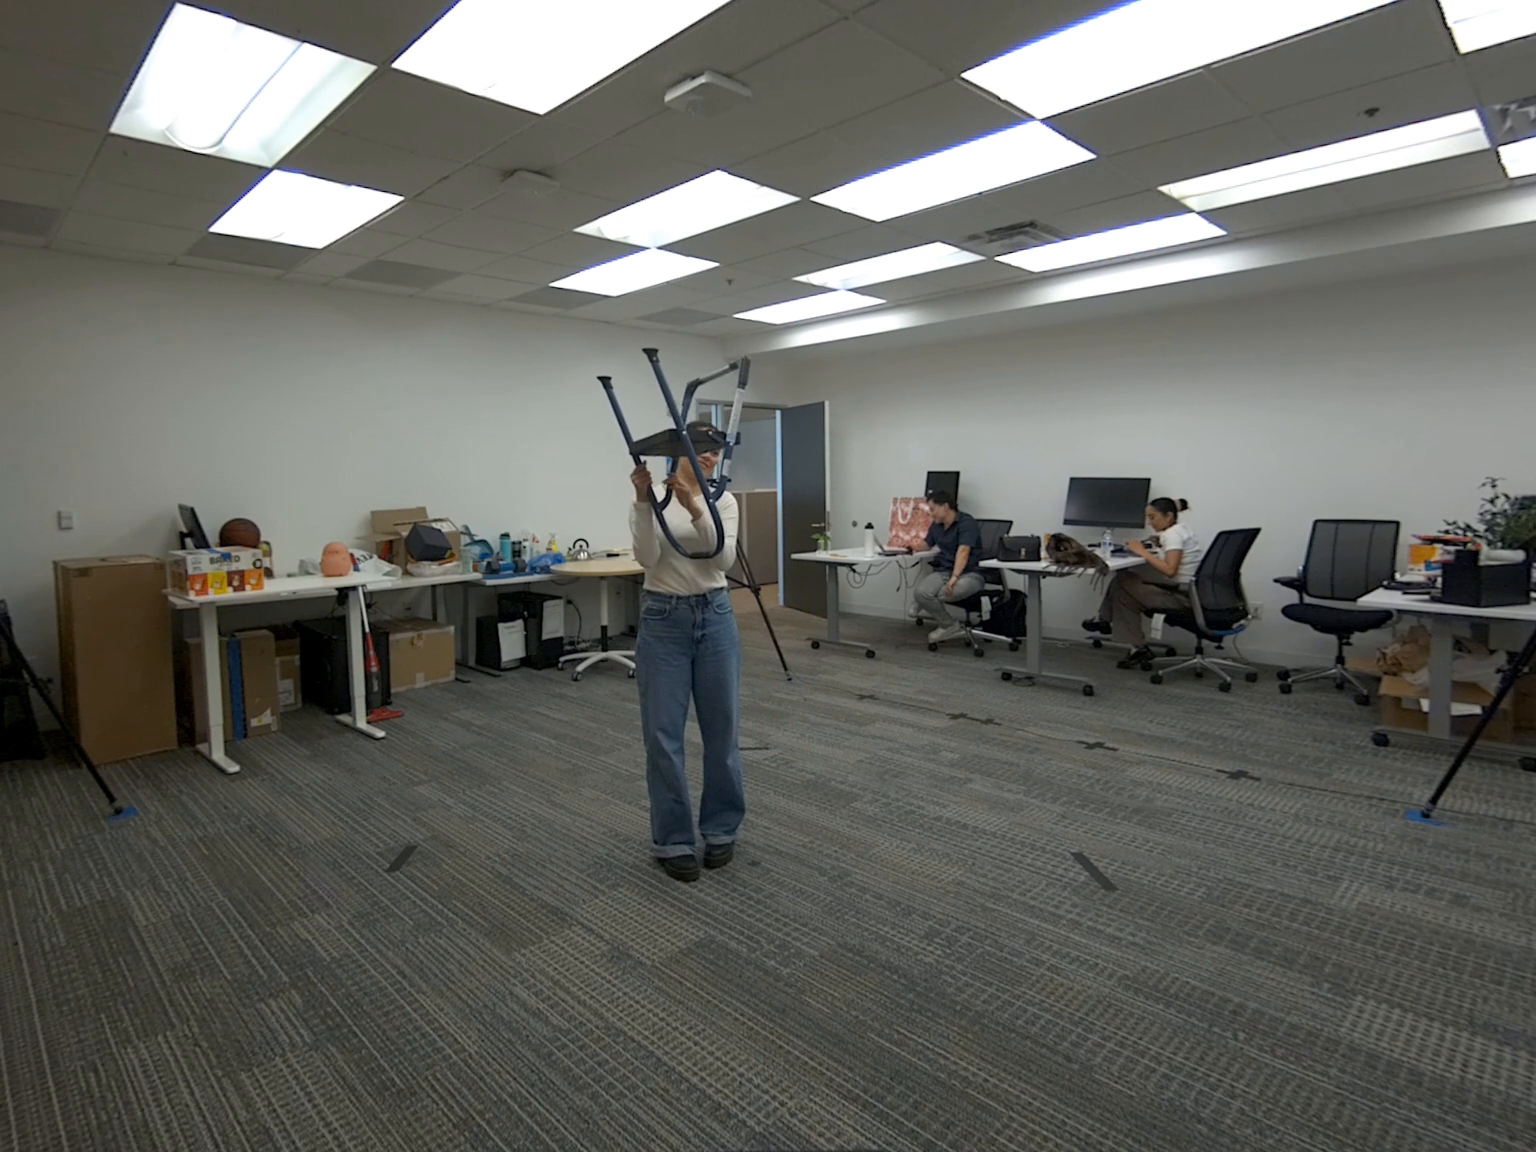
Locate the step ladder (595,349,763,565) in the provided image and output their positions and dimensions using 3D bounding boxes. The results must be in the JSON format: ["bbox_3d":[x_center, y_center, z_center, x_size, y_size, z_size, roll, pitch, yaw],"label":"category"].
[{"bbox_3d":[-0.292,-0.350,2.684,0.341,0.606,0.440,-3,0,-28],"label":"step ladder"}]
